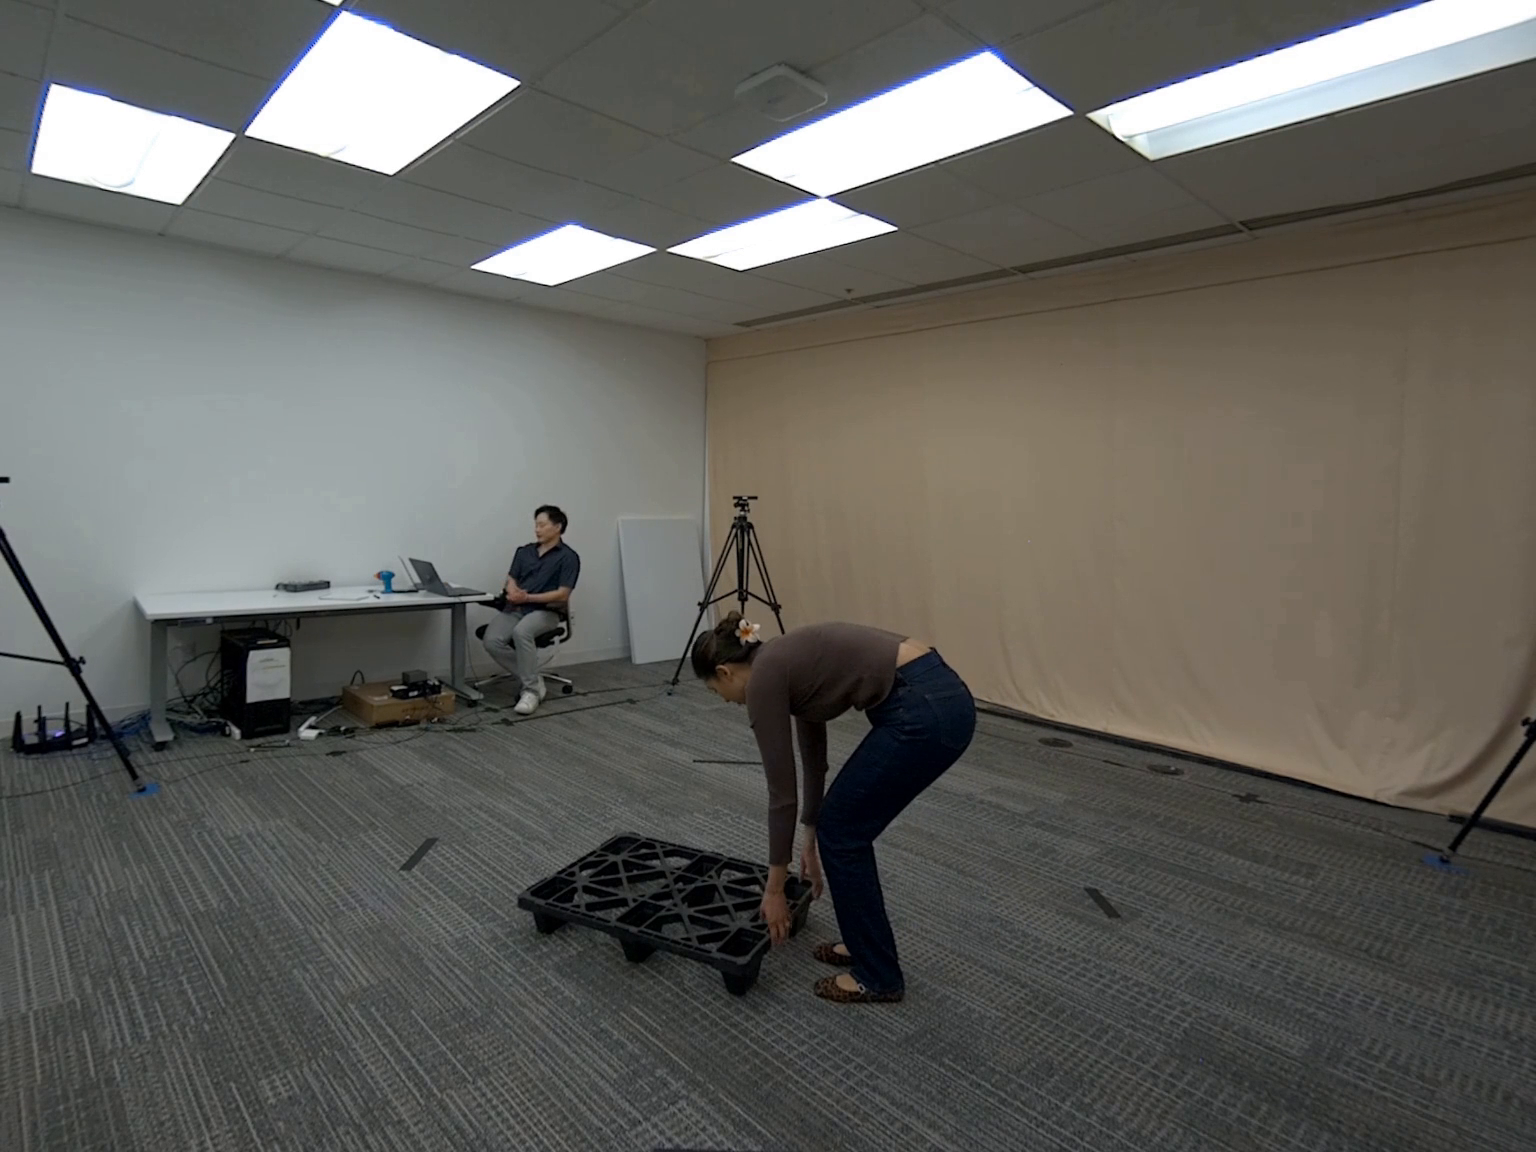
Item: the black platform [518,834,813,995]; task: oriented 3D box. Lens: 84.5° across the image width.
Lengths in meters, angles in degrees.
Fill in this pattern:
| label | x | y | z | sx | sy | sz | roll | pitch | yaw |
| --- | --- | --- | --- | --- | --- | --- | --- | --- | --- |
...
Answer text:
| label | x | y | z | sx | sy | sz | roll | pitch | yaw |
| --- | --- | --- | --- | --- | --- | --- | --- | --- | --- |
| black platform | -0.309 | 1.069 | 2.707 | 0.822 | 0.143 | 0.595 | 3 | 7 | 26 |
